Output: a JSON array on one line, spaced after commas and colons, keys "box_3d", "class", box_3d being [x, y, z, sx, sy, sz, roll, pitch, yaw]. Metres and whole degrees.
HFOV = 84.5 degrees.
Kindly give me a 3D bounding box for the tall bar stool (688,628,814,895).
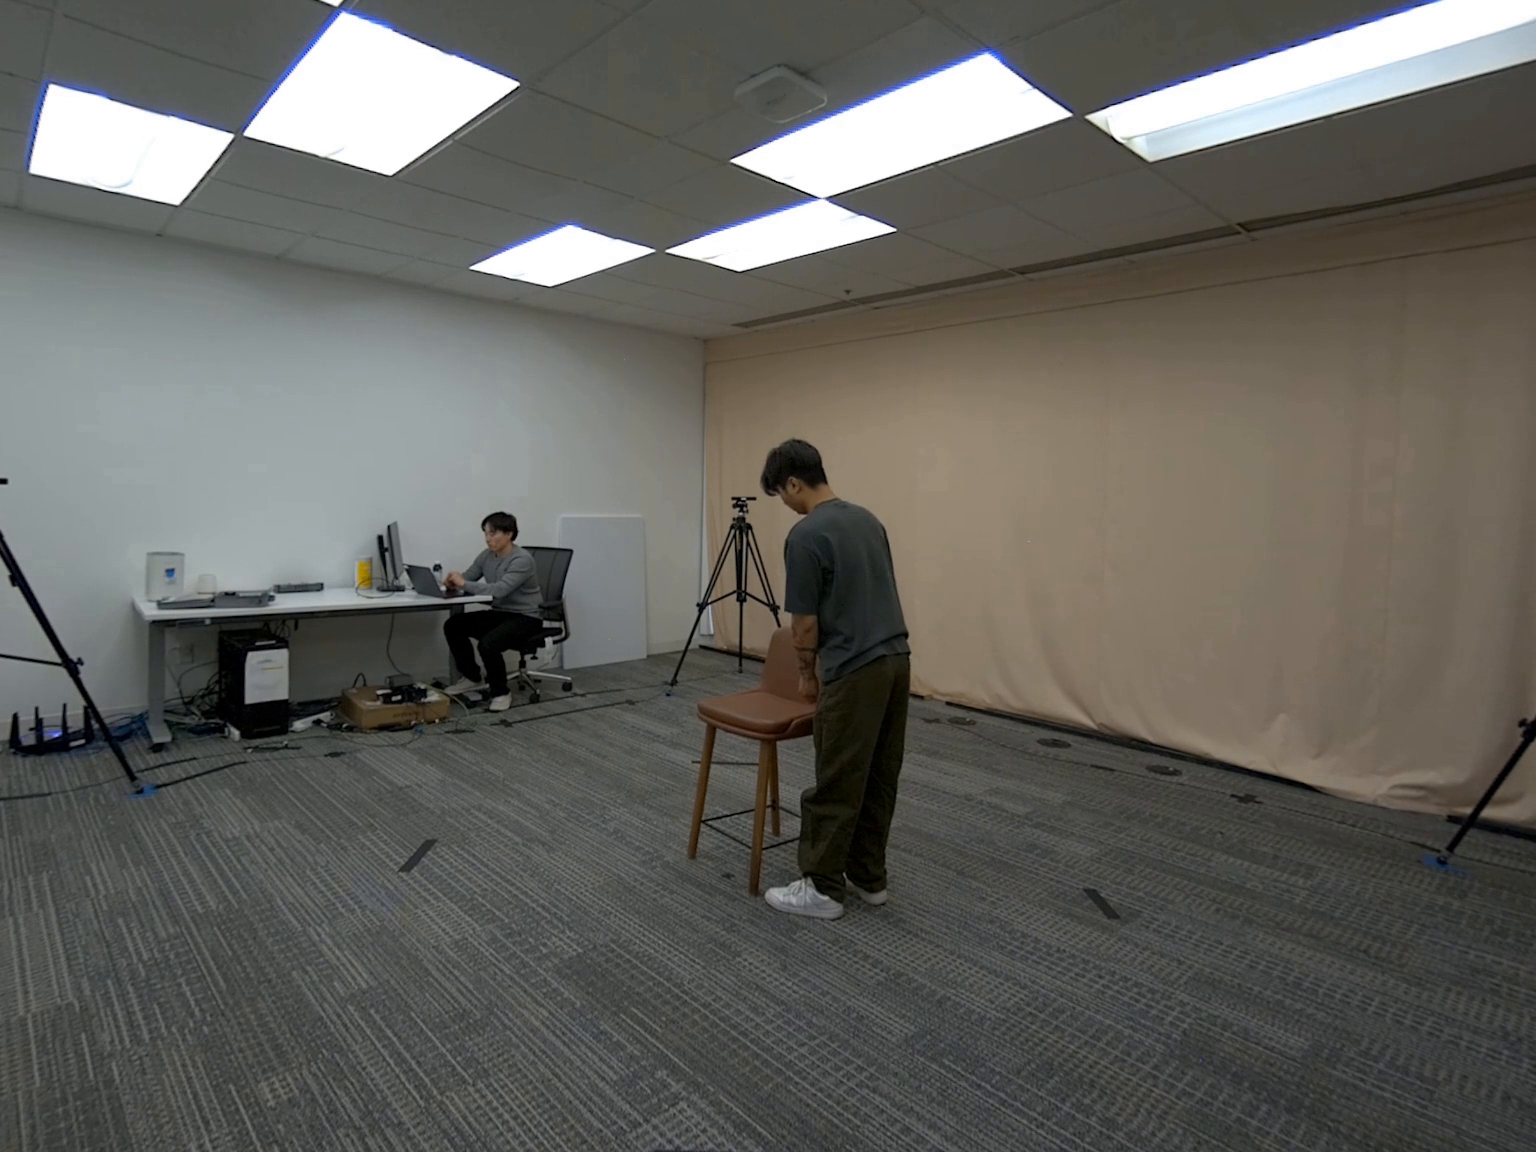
[{"box_3d": [-0.006, 0.663, 3.221, 0.457, 0.888, 0.468, 1, 3, -39], "class": "tall bar stool"}]
